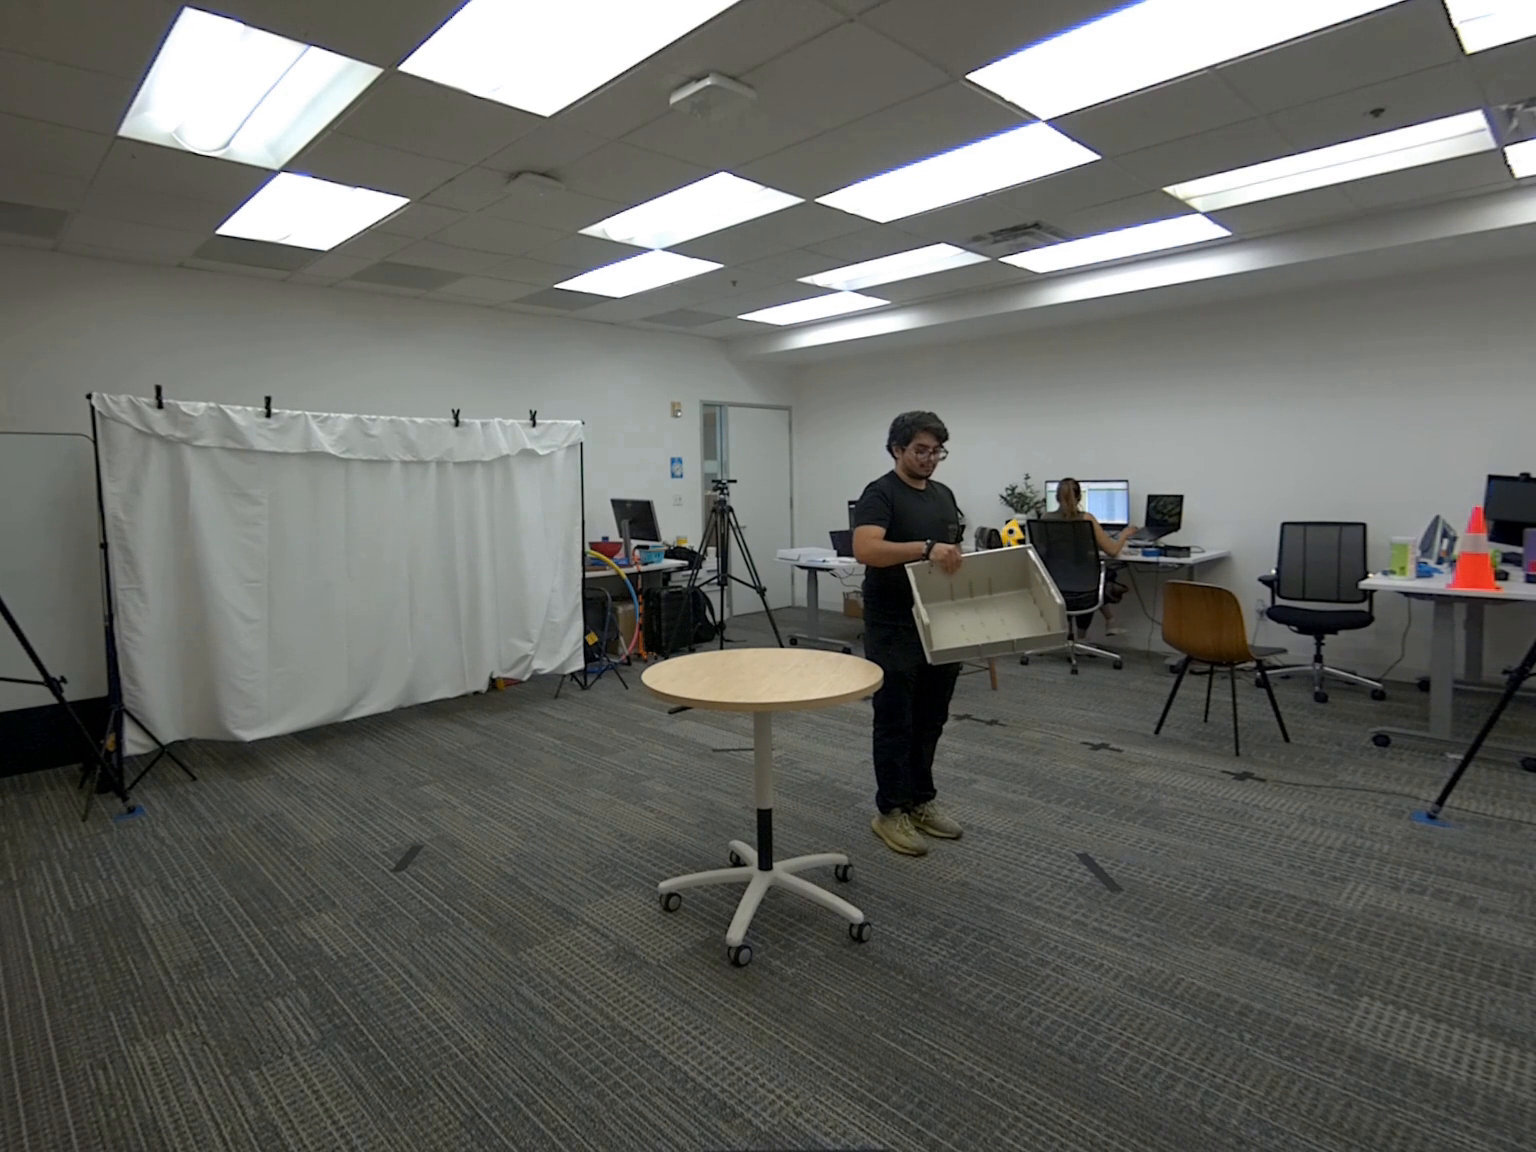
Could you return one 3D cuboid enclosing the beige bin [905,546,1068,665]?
[{"bbox_3d":[0.696,0.099,2.762,0.425,0.184,0.385,-8,30,7],"label":"beige bin"}]
